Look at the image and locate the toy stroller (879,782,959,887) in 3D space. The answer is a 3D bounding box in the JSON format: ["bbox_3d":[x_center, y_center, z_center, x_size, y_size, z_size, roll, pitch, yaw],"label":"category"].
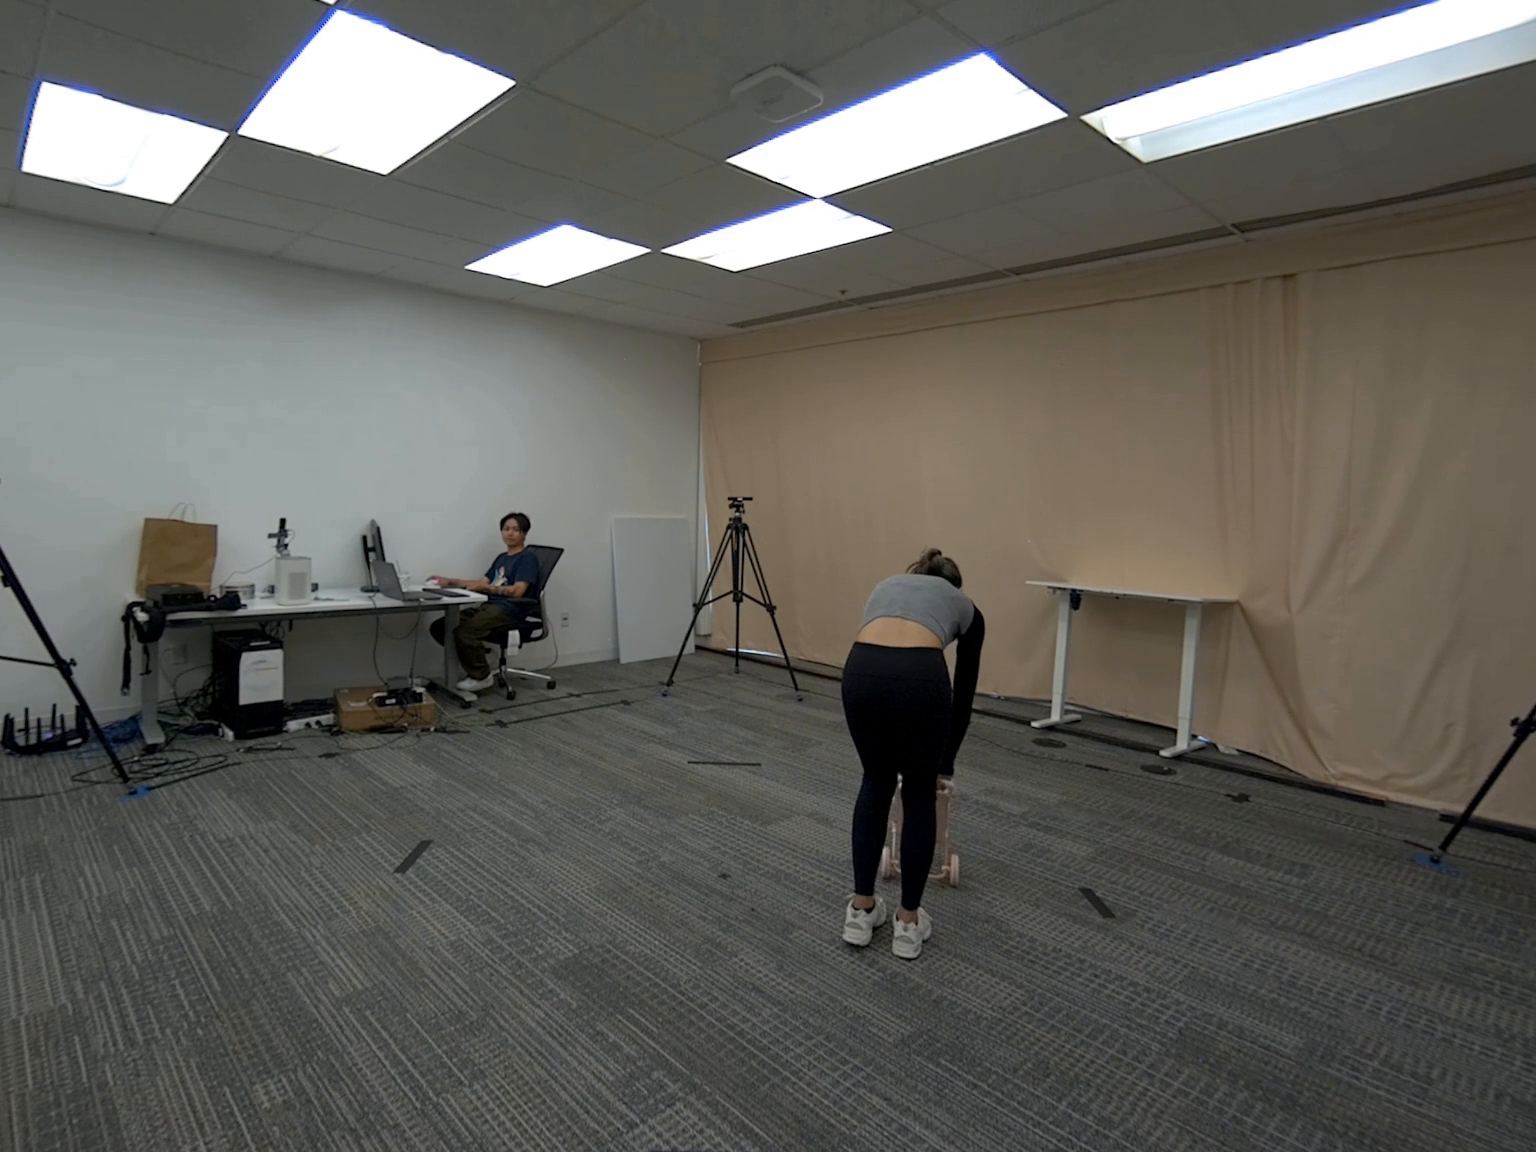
[{"bbox_3d":[0.573,0.898,3.159,0.285,0.528,0.341,3,17,14],"label":"toy stroller"}]
